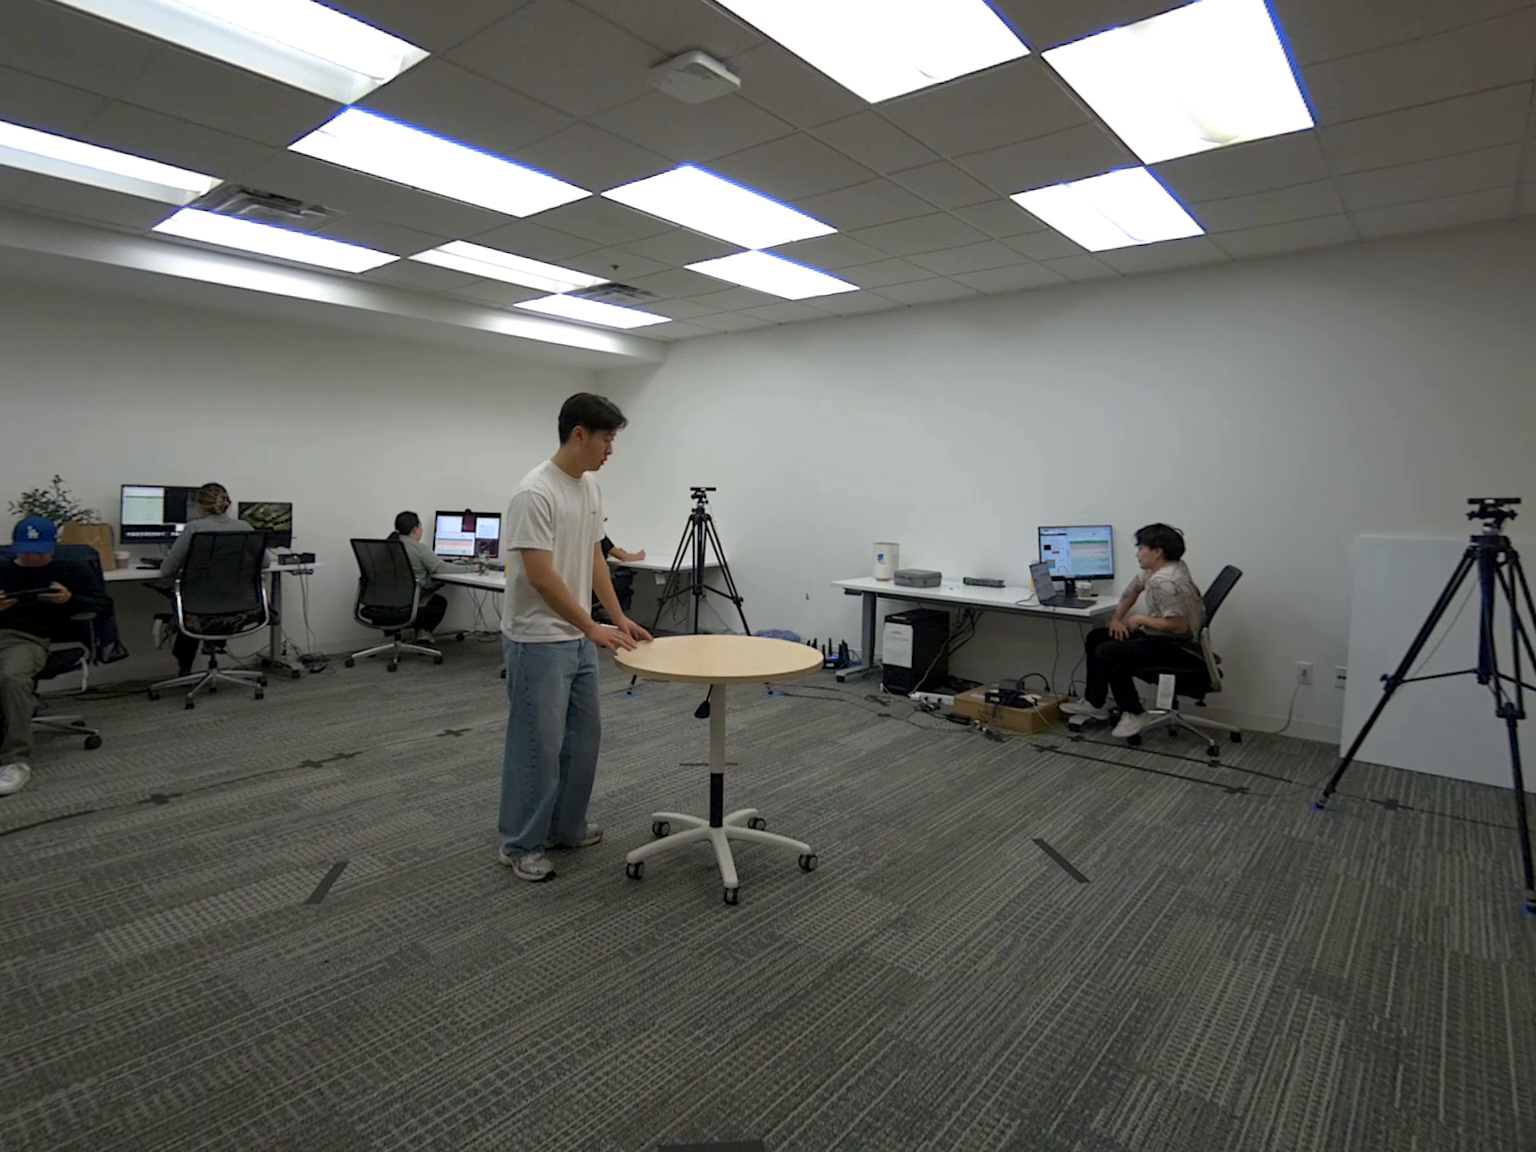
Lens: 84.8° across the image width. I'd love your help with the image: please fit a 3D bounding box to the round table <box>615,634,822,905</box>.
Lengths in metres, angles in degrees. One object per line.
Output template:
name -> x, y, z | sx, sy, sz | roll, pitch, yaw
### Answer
round table -> -0.194, 0.677, 3.136 | 0.763, 0.792, 0.767 | 1, 4, -2
